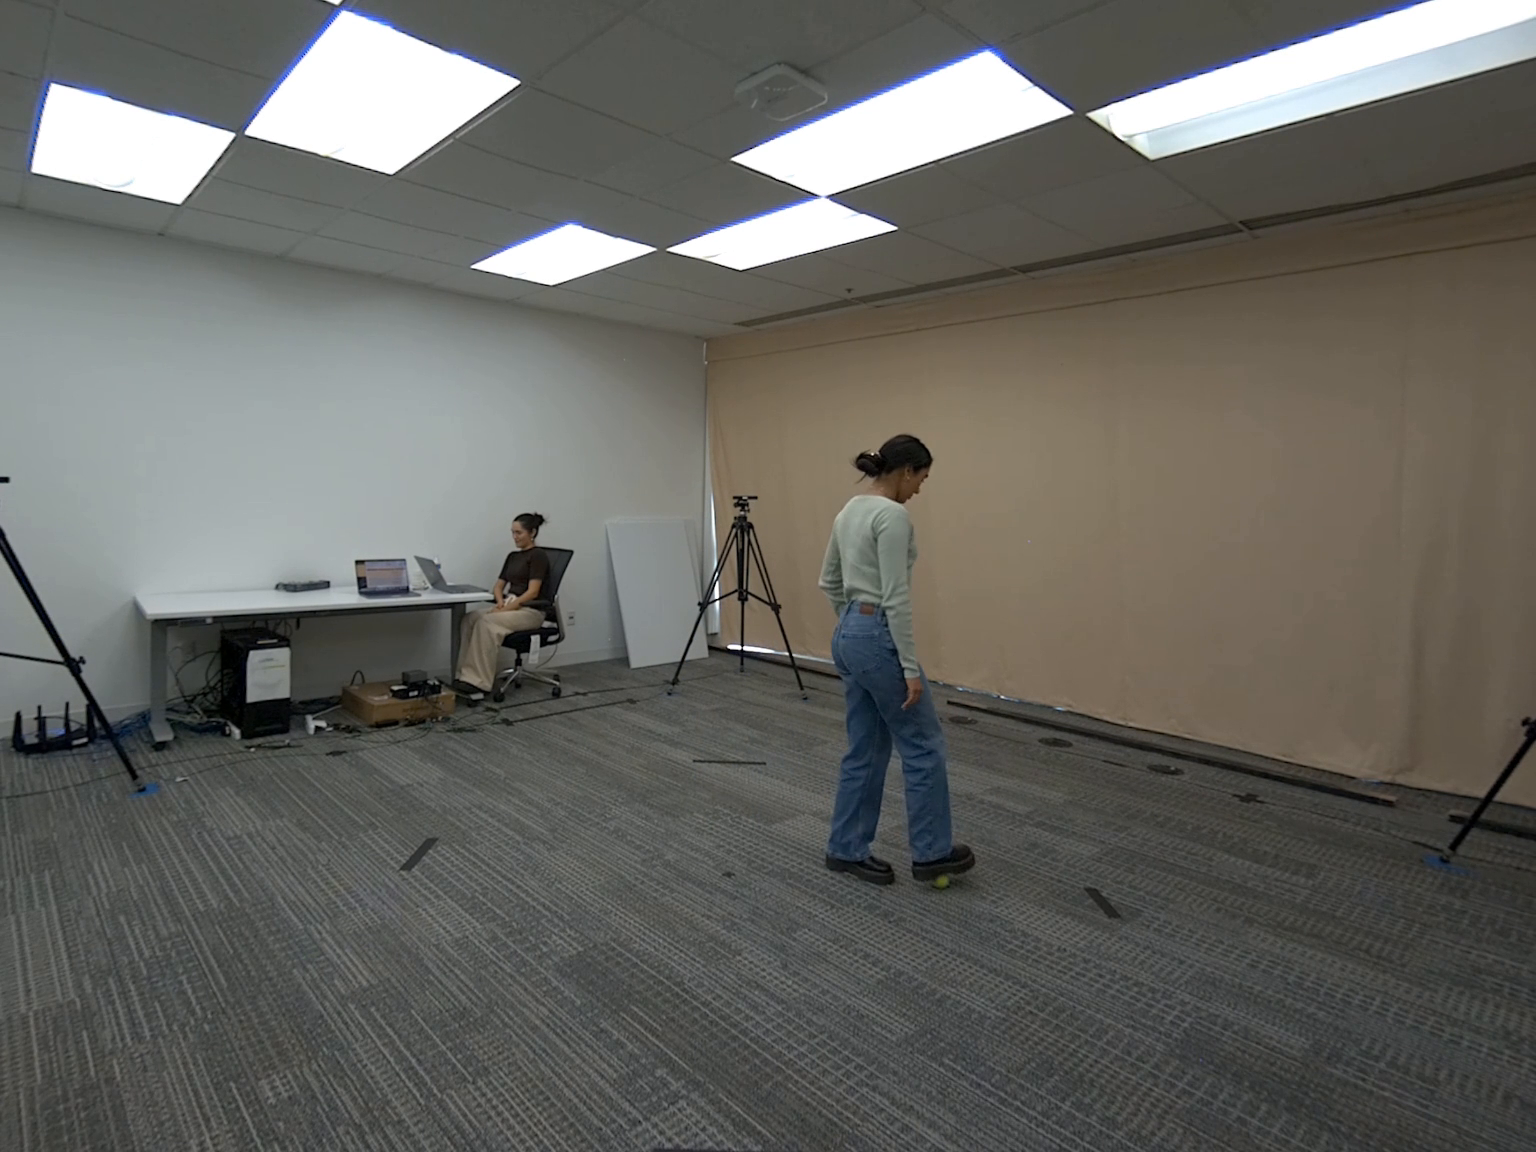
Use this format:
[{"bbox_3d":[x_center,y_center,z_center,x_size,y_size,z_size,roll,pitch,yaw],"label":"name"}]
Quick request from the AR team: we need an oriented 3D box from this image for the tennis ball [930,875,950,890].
[{"bbox_3d":[0.614,1.090,3.051,0.066,0.066,0.067,1,4,-1],"label":"tennis ball"}]
